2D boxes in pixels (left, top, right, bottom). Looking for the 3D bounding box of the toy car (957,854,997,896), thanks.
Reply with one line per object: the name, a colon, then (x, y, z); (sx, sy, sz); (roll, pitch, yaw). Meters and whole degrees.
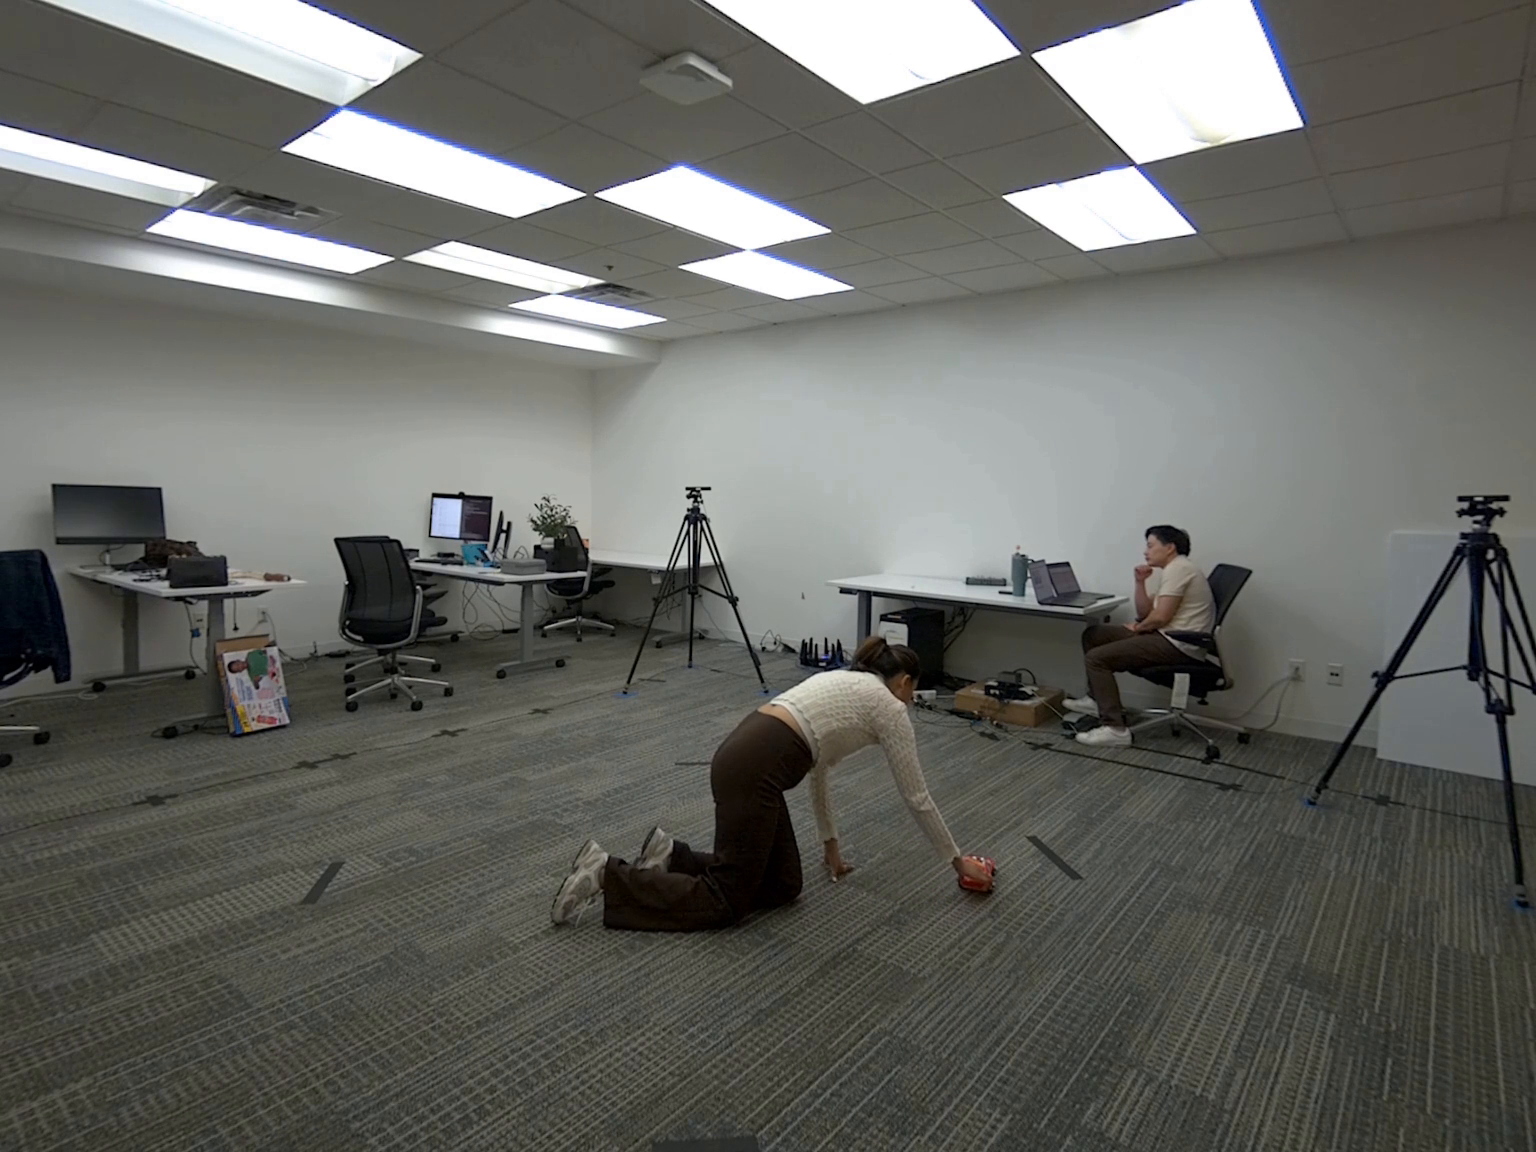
toy car: (0.740, 1.066, 3.040); (0.133, 0.084, 0.248); (3, -5, 18)
